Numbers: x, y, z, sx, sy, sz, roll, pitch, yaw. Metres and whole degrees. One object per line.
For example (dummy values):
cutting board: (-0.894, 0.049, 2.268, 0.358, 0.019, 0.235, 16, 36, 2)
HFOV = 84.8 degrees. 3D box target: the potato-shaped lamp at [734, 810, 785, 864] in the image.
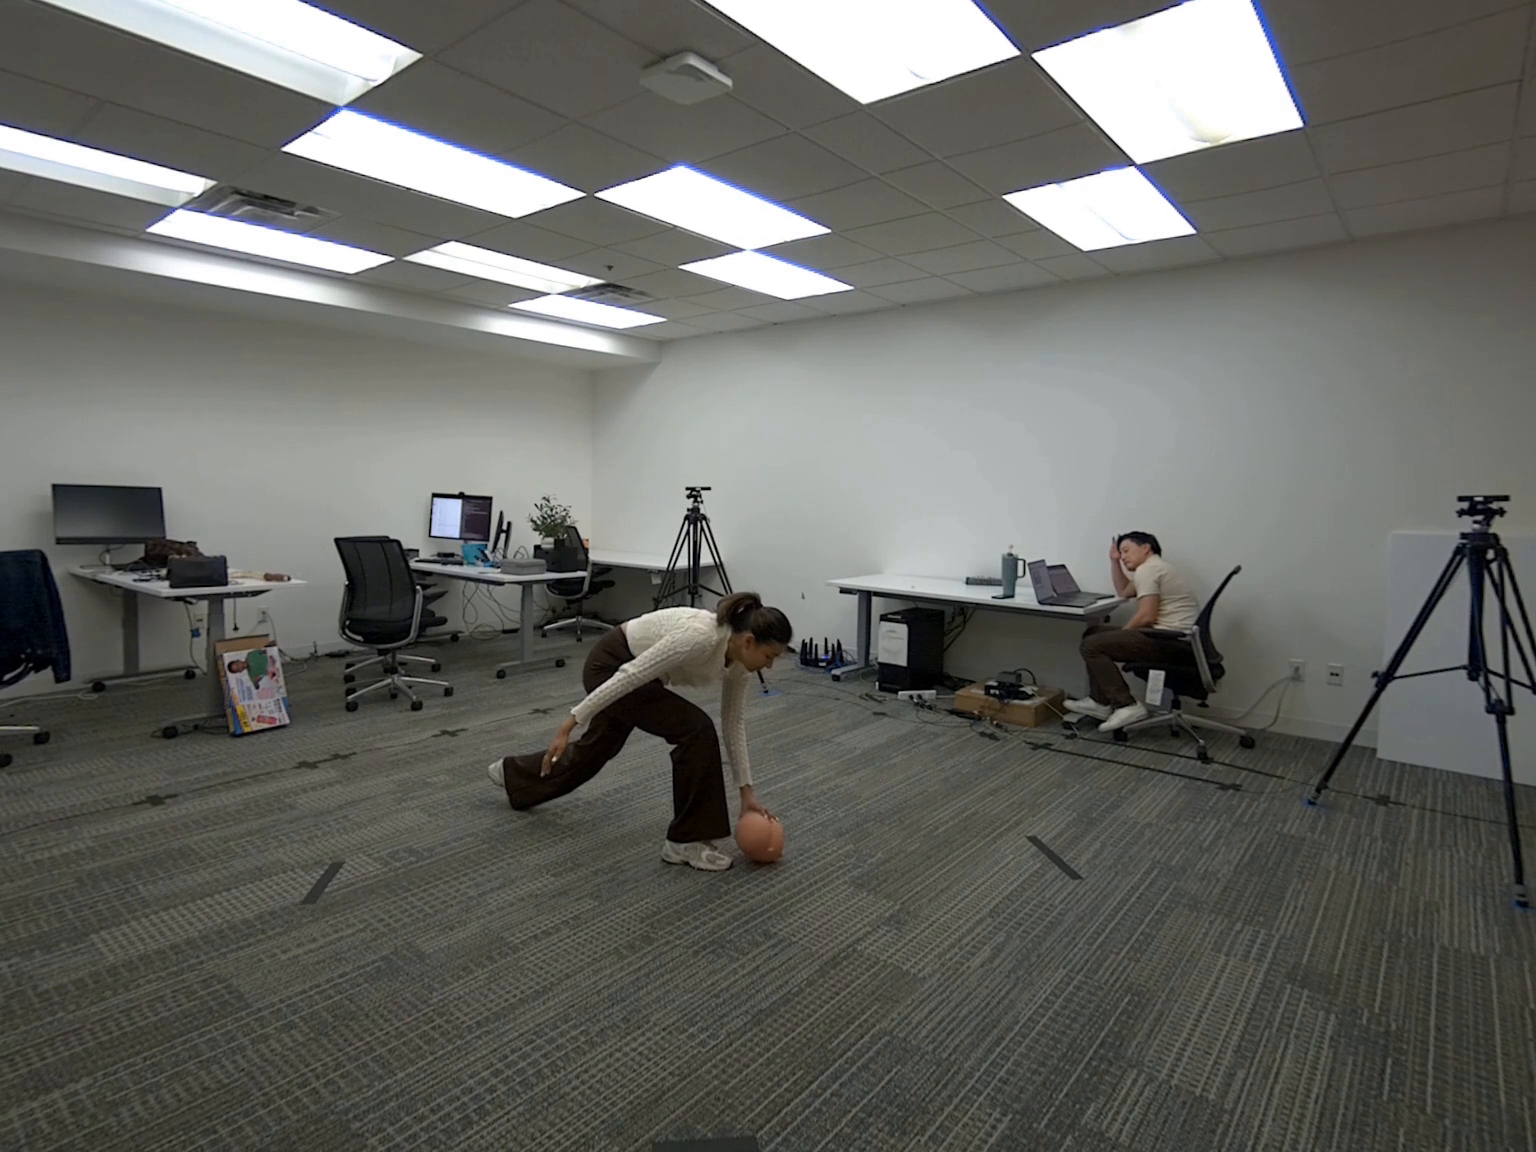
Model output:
potato-shaped lamp: (-0.044, 0.966, 3.162, 0.174, 0.168, 0.190, -5, -34, 19)
